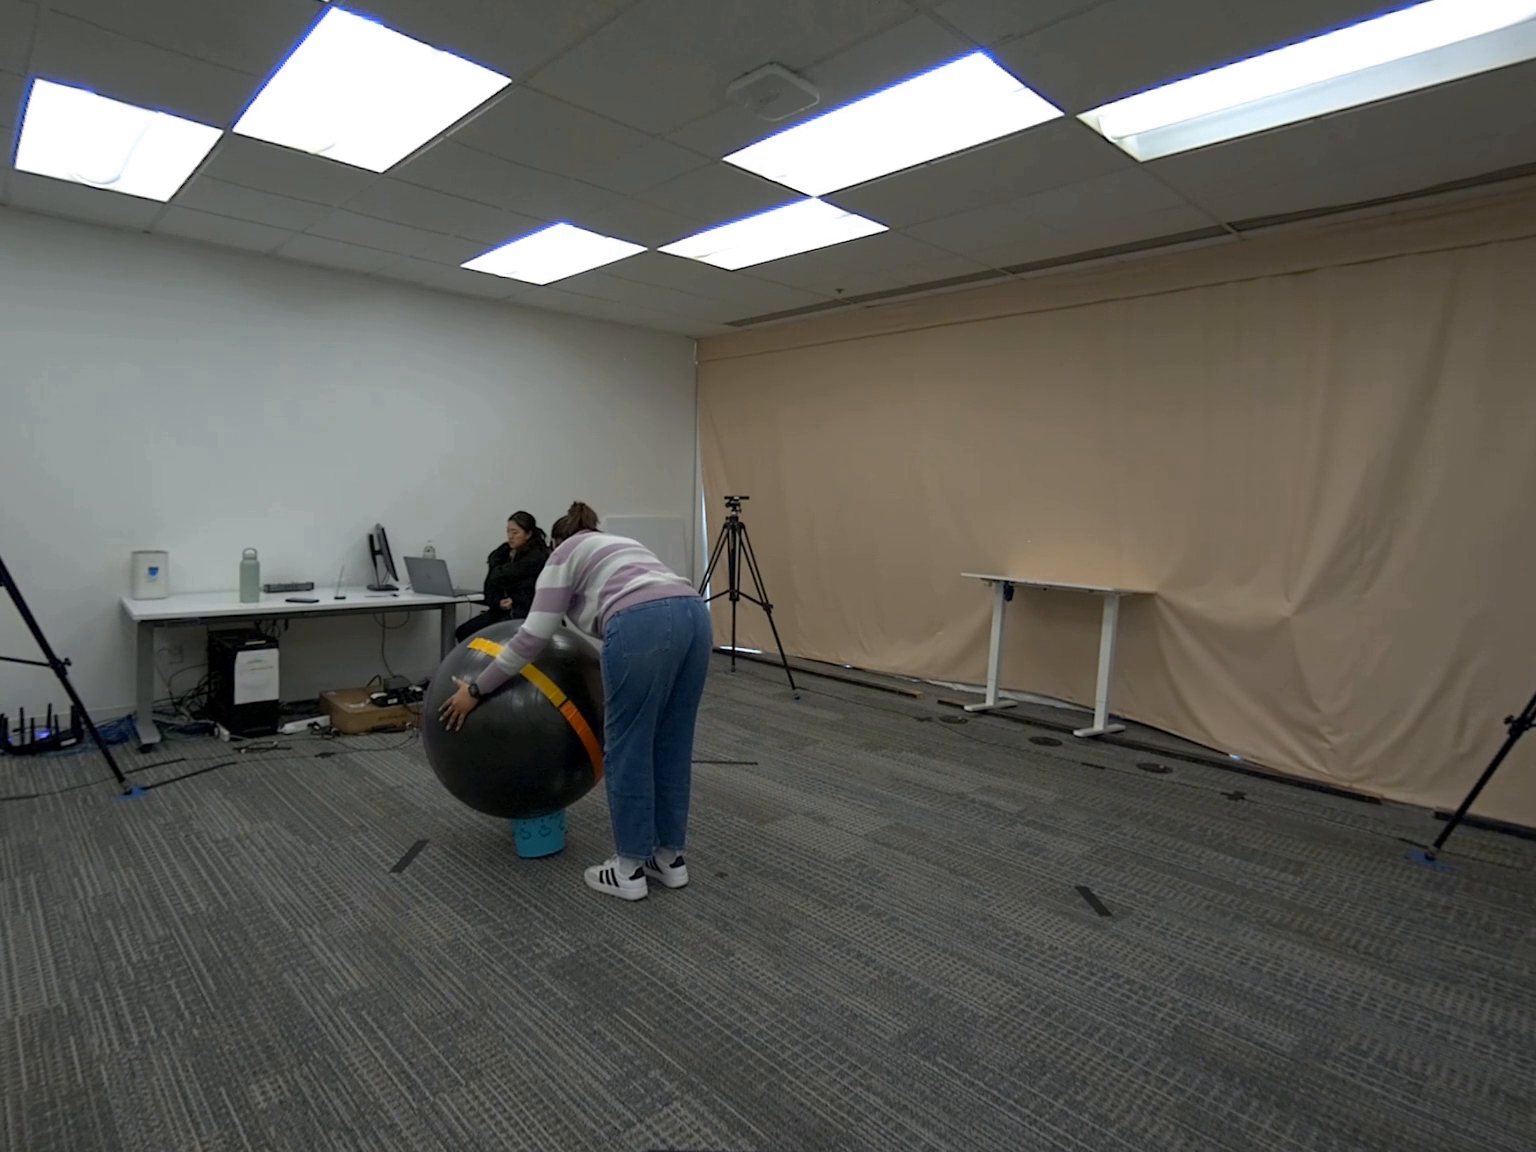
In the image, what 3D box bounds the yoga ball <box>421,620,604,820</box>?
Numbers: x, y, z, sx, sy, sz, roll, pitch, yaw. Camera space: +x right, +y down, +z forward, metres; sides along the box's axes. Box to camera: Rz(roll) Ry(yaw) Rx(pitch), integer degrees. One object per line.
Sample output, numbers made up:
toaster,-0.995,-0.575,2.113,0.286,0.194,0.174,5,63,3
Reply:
yoga ball,-0.959,0.555,3.285,0.757,0.756,0.761,1,4,-1
